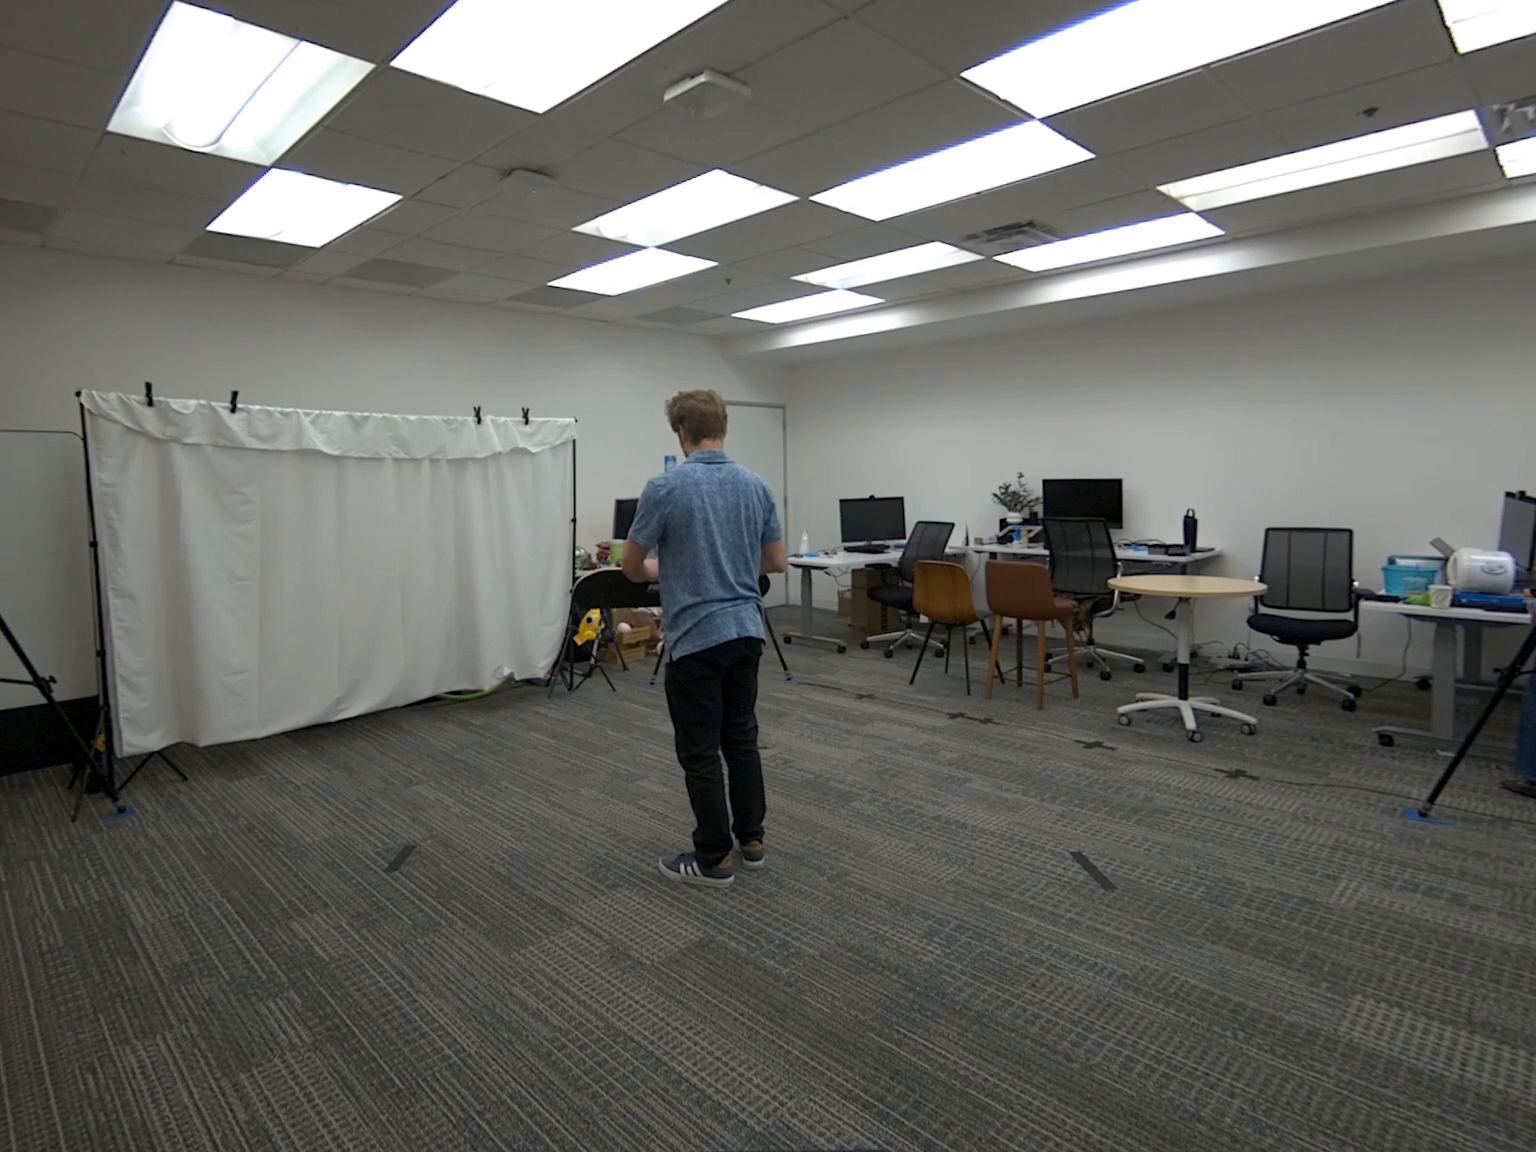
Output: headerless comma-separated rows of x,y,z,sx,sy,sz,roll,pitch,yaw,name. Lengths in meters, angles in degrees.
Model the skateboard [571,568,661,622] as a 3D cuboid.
-0.375,0.028,3.352,0.773,0.189,0.114,-3,34,-17,skateboard
